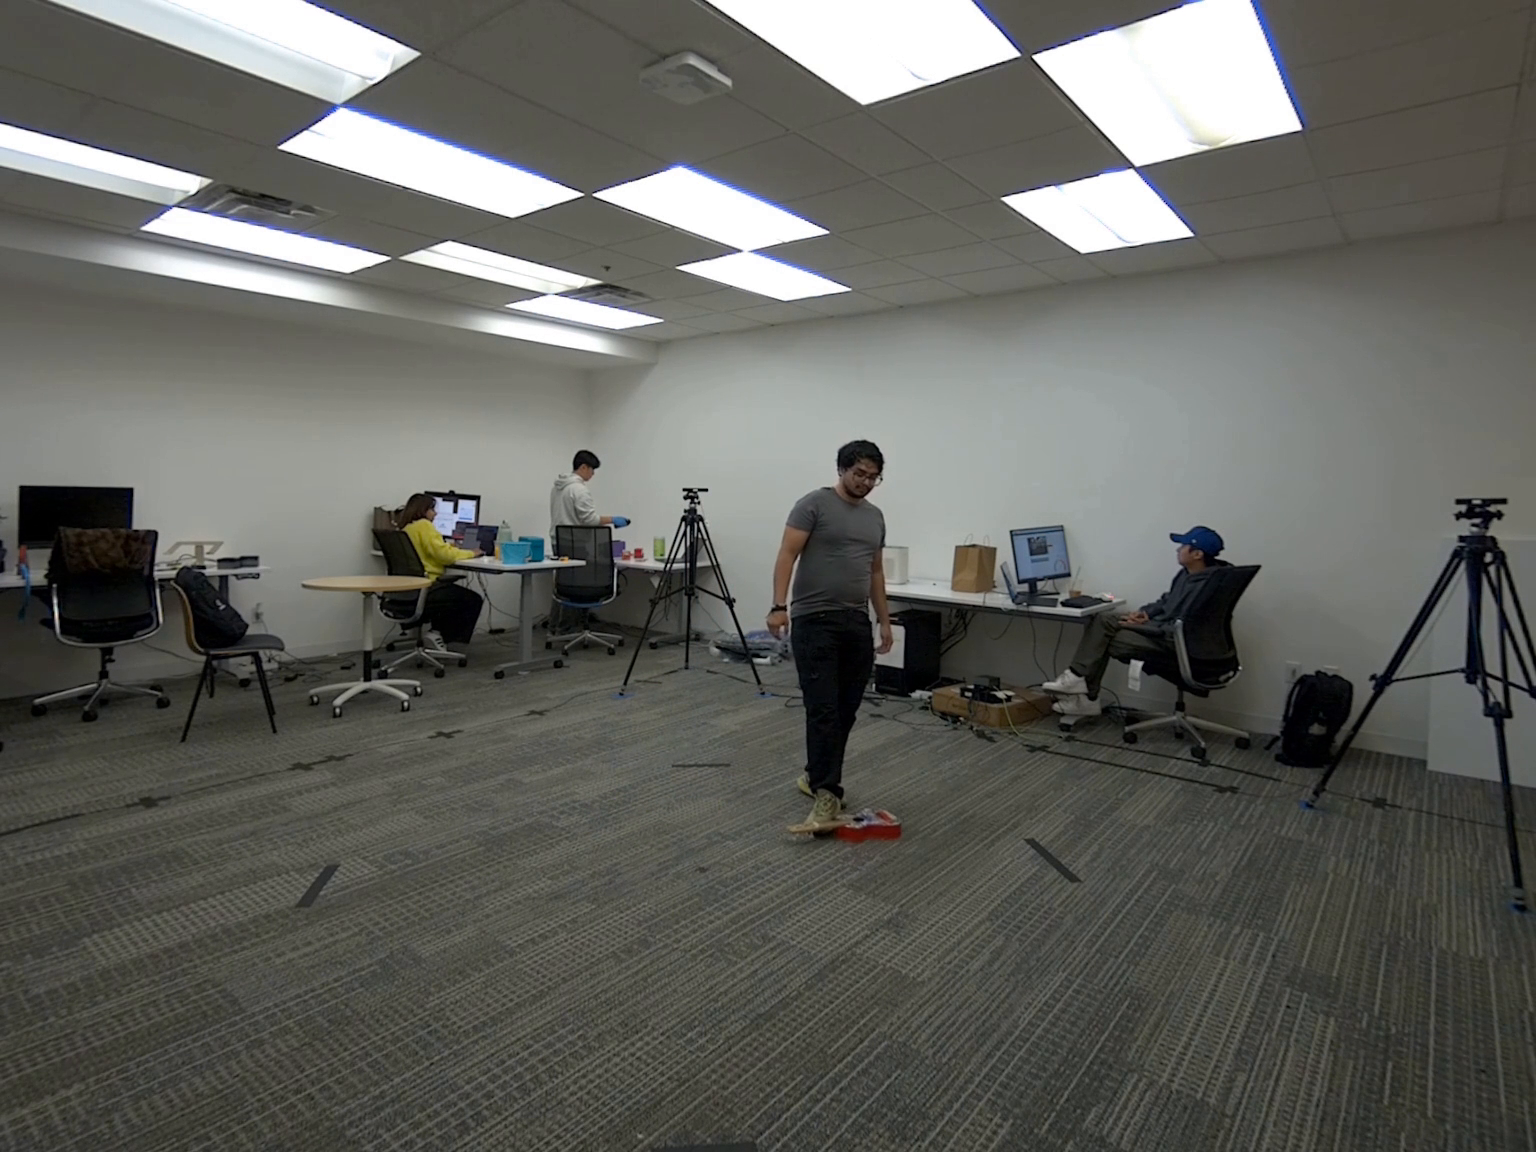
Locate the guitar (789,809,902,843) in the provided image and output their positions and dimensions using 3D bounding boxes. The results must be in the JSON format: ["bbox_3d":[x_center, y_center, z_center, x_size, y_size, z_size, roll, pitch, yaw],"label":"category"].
[{"bbox_3d":[0.281,1.010,3.467,0.490,0.070,0.197,0,6,-14],"label":"guitar"}]
